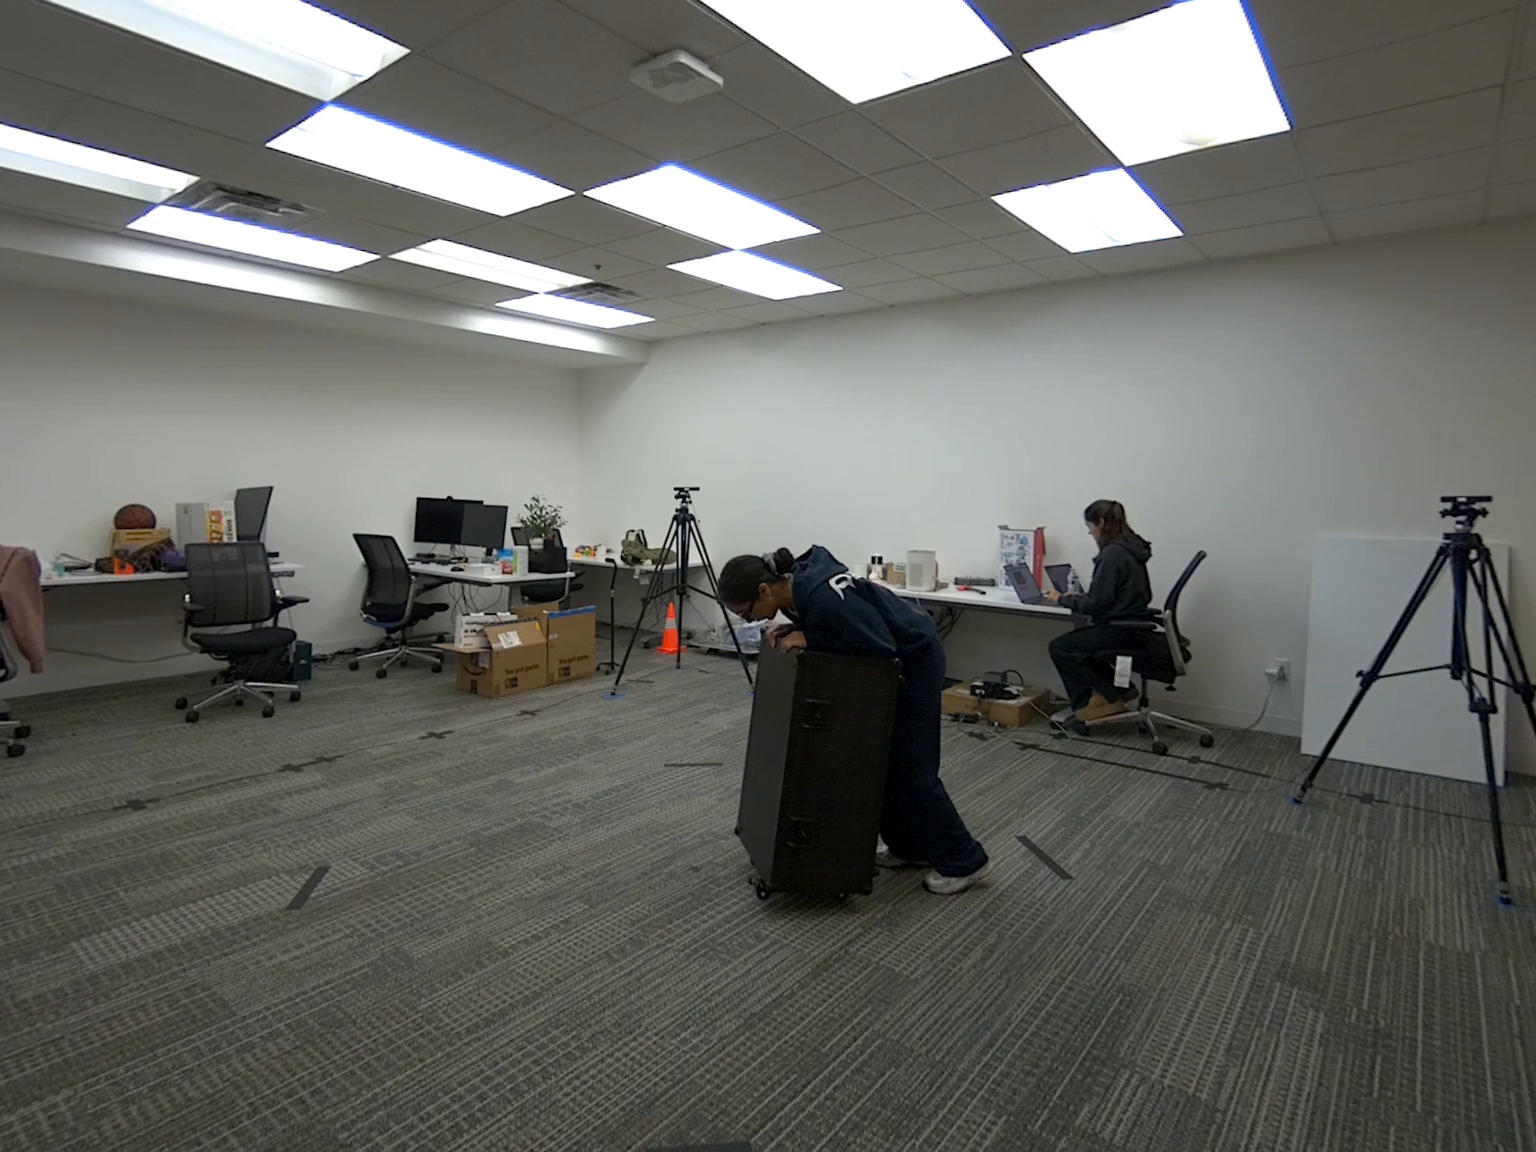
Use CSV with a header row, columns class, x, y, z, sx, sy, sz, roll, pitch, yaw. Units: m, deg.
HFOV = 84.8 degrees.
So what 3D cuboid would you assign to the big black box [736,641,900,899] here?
class,x,y,z,sx,sy,sz,roll,pitch,yaw
big black box,0.151,0.657,2.993,0.390,0.860,0.530,7,2,-15
